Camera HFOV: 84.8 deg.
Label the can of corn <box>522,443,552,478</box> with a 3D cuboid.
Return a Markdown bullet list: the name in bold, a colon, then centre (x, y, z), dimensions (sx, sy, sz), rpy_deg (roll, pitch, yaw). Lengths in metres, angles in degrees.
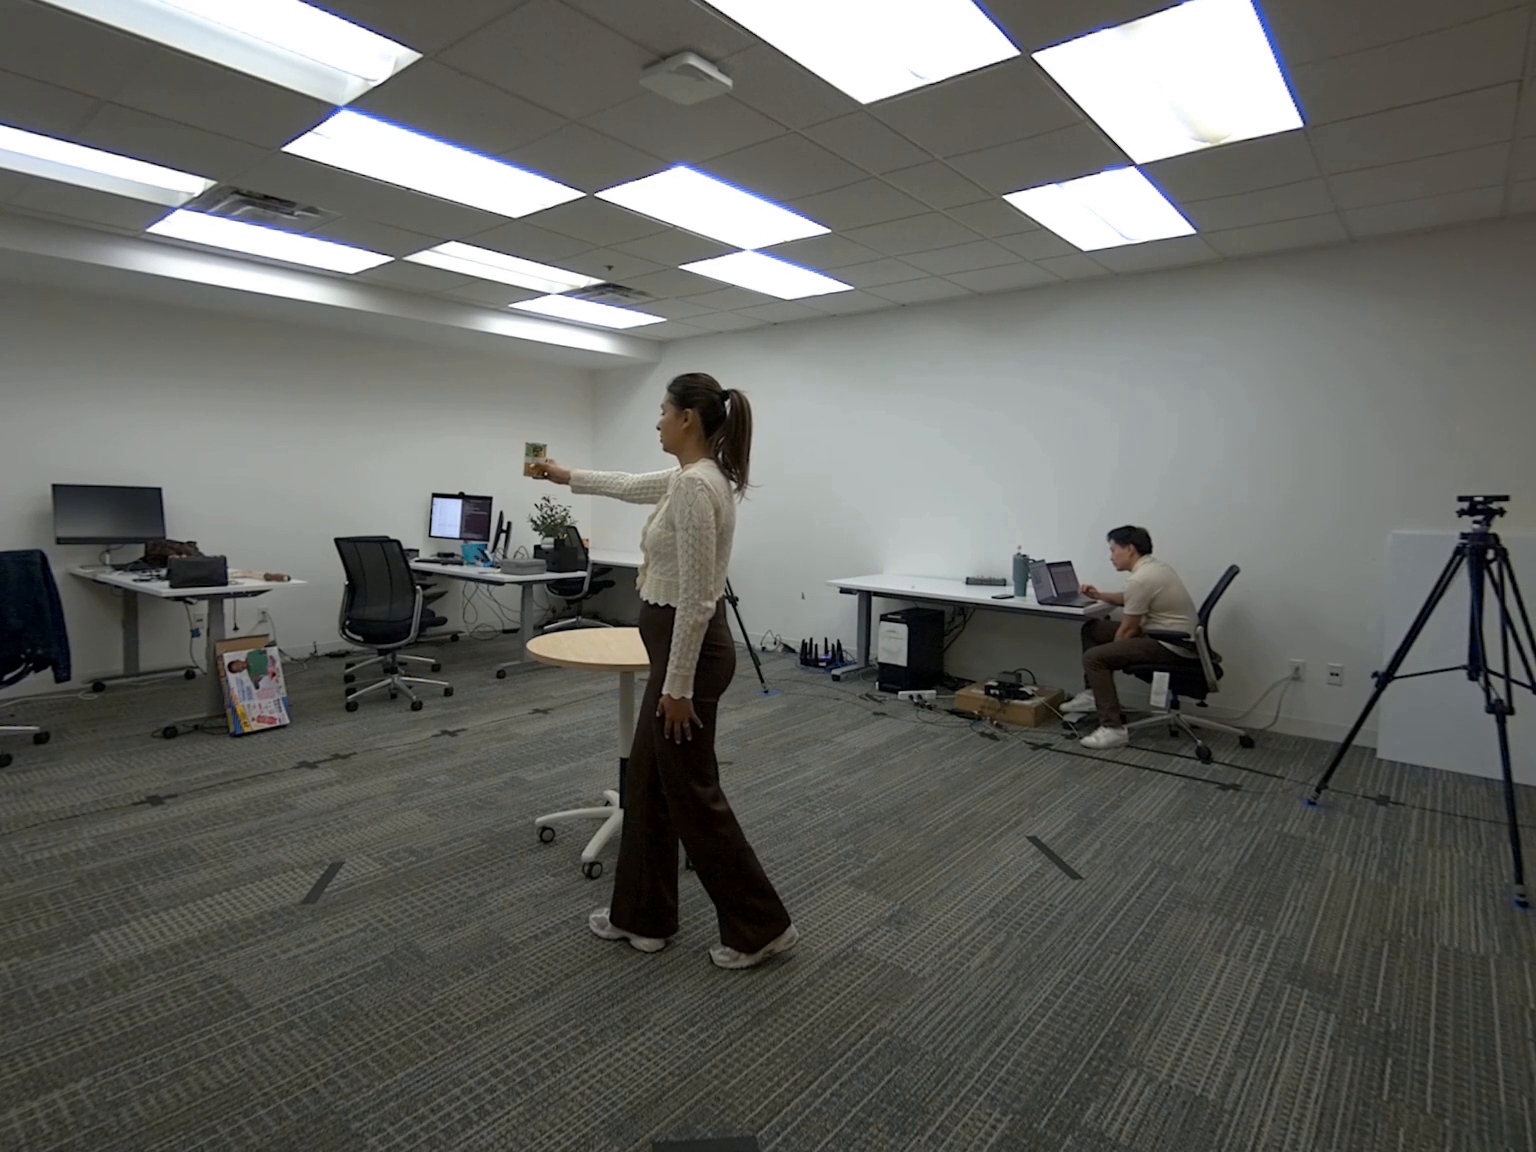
- **can of corn**: centre (-0.804, -0.403, 2.923), dimensions (0.074, 0.110, 0.075), rpy_deg (6, 7, -3)
